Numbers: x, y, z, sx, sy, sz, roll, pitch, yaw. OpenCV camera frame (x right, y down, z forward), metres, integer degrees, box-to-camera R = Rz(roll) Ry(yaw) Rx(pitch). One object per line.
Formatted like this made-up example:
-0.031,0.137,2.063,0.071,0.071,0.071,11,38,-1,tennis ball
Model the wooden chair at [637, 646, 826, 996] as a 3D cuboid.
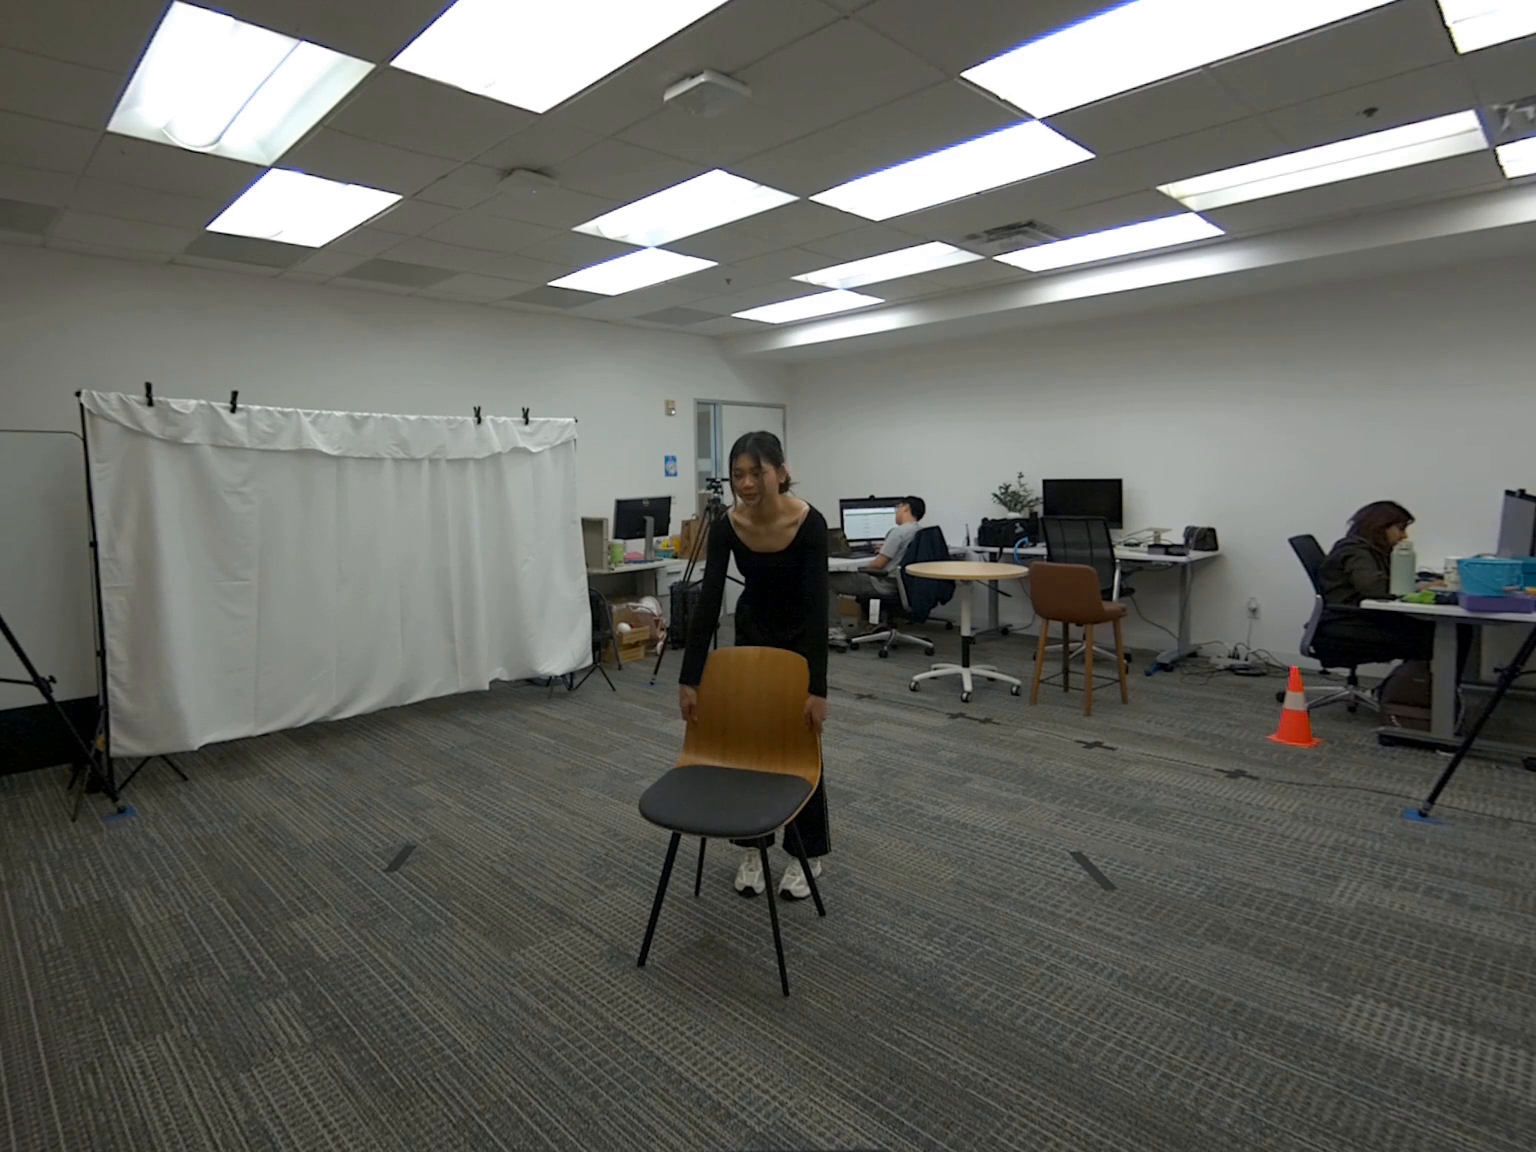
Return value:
-0.098,0.682,2.549,0.487,0.877,0.514,1,0,19,wooden chair
